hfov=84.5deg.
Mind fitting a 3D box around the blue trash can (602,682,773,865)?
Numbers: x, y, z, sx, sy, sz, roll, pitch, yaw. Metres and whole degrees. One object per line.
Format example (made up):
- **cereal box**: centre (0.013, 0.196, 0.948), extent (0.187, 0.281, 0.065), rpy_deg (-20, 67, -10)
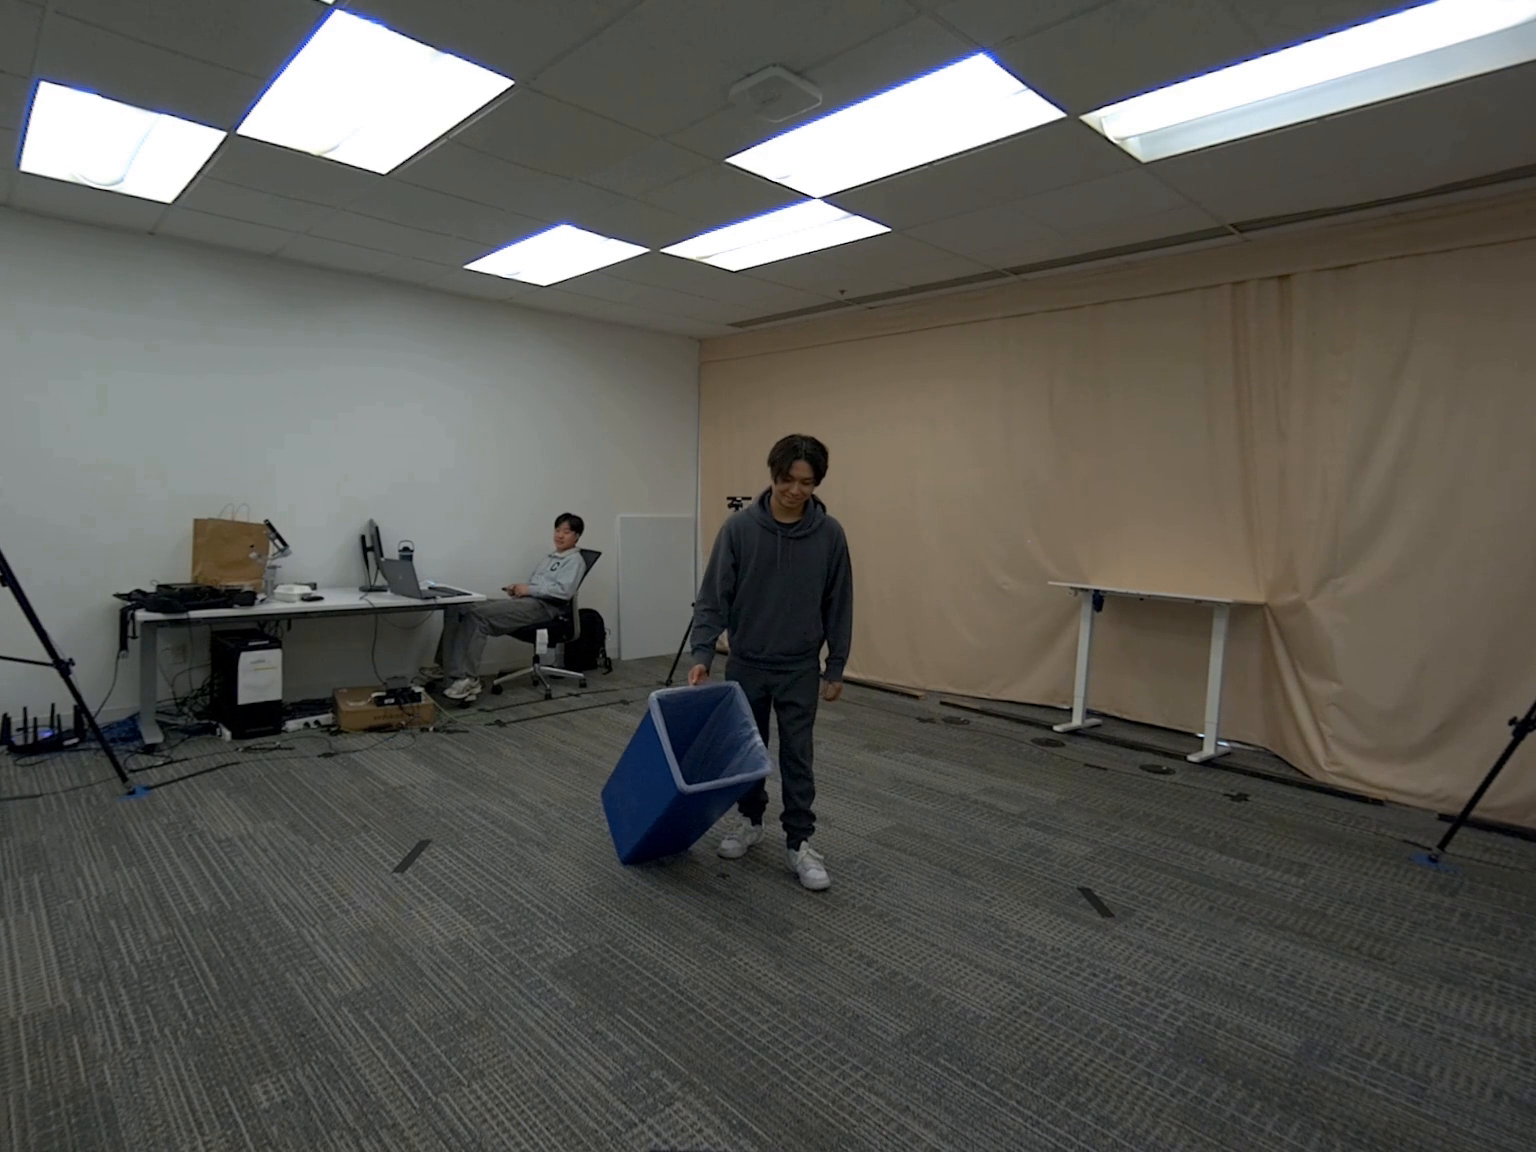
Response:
- **blue trash can**: centre (-0.347, 0.751, 3.081), extent (0.366, 0.388, 0.709), rpy_deg (-1, -38, -34)
